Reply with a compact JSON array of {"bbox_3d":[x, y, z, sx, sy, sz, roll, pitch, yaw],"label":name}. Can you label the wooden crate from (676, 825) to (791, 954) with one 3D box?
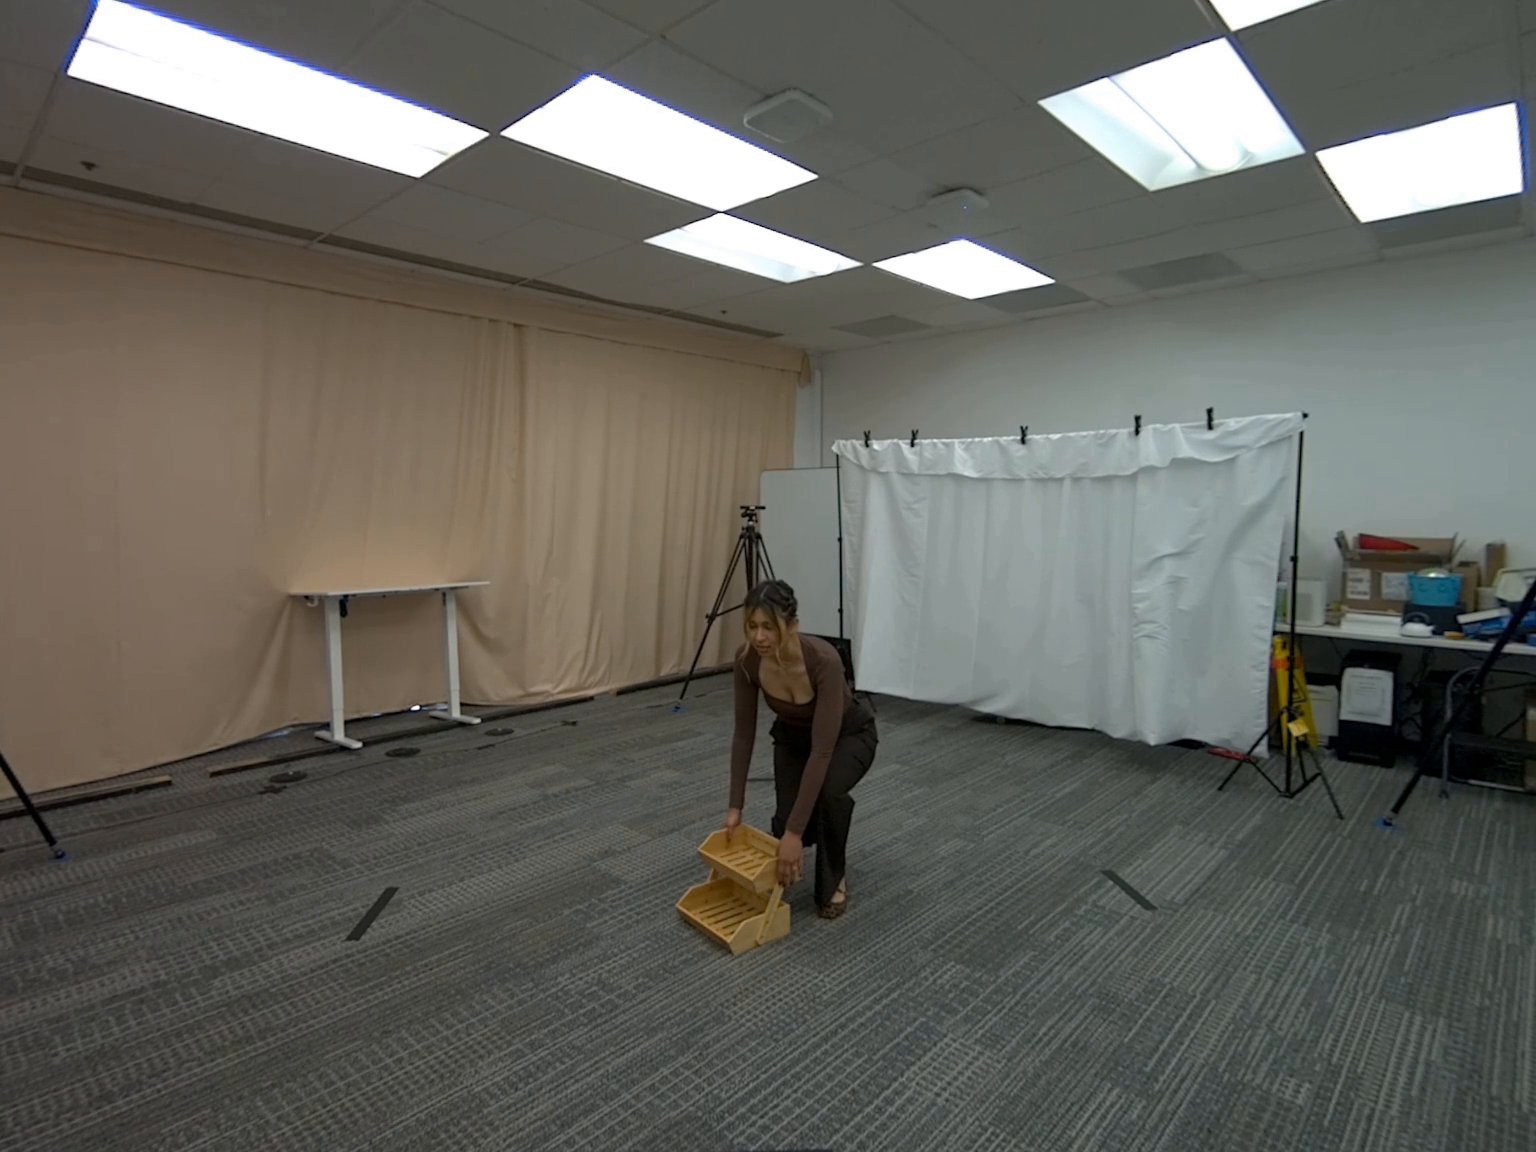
[{"bbox_3d":[-0.098,1.028,2.801,0.293,0.273,0.335,-3,5,-39],"label":"wooden crate"}]
